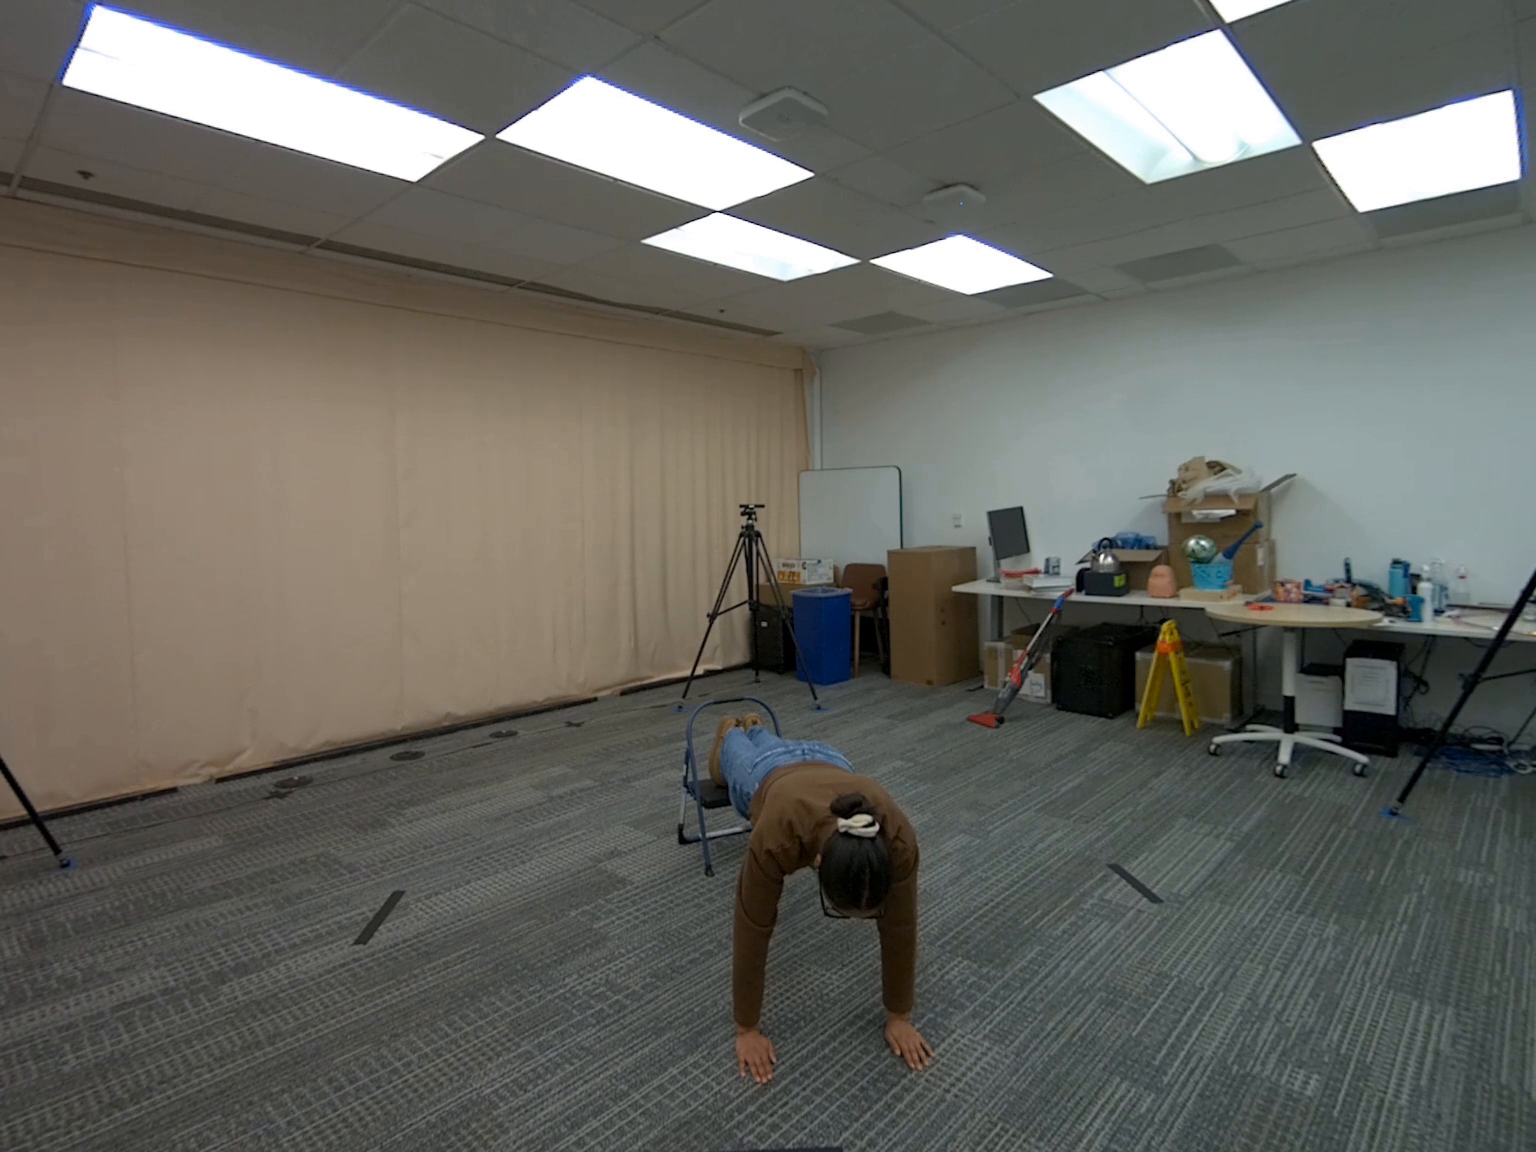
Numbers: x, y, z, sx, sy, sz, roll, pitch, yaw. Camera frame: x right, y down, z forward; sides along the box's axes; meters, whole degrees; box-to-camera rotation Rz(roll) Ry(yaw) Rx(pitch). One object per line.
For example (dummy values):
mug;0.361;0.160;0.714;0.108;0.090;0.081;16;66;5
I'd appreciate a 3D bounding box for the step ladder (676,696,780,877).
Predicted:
step ladder;-0.119;0.806;3.389;0.420;0.605;0.358;-3;3;-25
